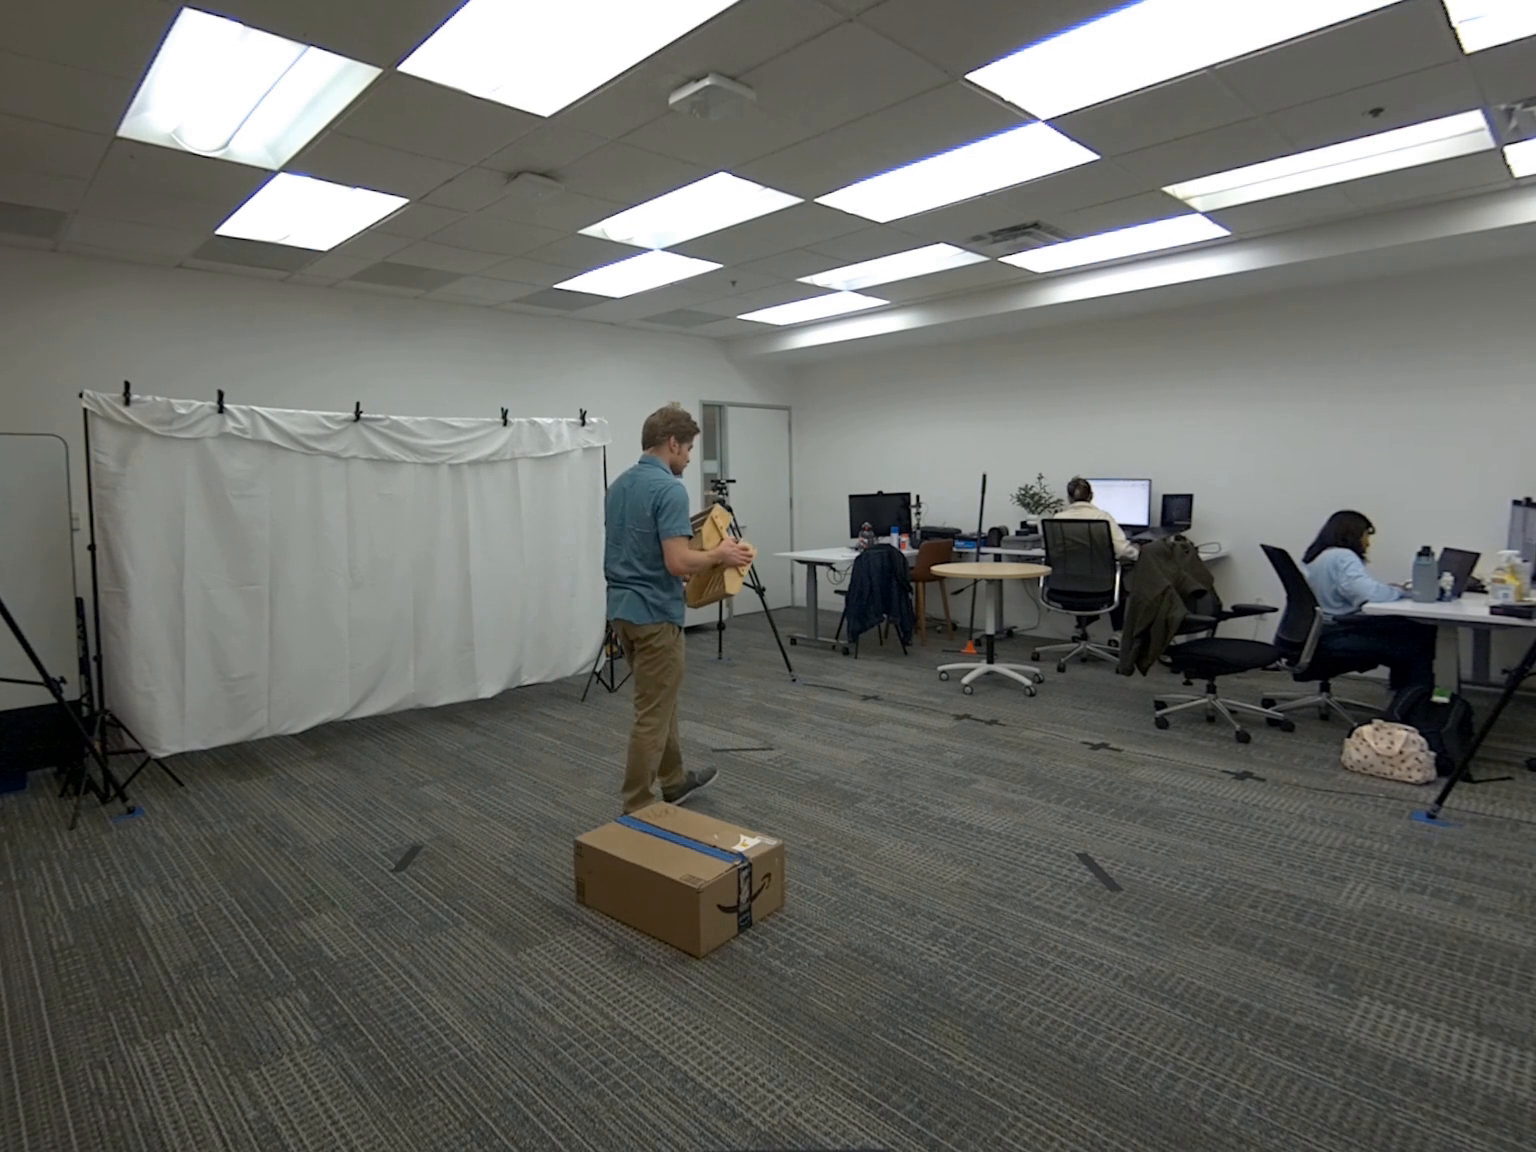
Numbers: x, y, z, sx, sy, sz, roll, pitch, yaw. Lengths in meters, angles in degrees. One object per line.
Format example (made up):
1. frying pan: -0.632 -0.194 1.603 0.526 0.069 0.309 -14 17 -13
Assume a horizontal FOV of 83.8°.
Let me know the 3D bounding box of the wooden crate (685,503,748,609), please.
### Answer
1. wooden crate: -0.265 -0.070 3.532 0.267 0.305 0.329 40 -34 -20
